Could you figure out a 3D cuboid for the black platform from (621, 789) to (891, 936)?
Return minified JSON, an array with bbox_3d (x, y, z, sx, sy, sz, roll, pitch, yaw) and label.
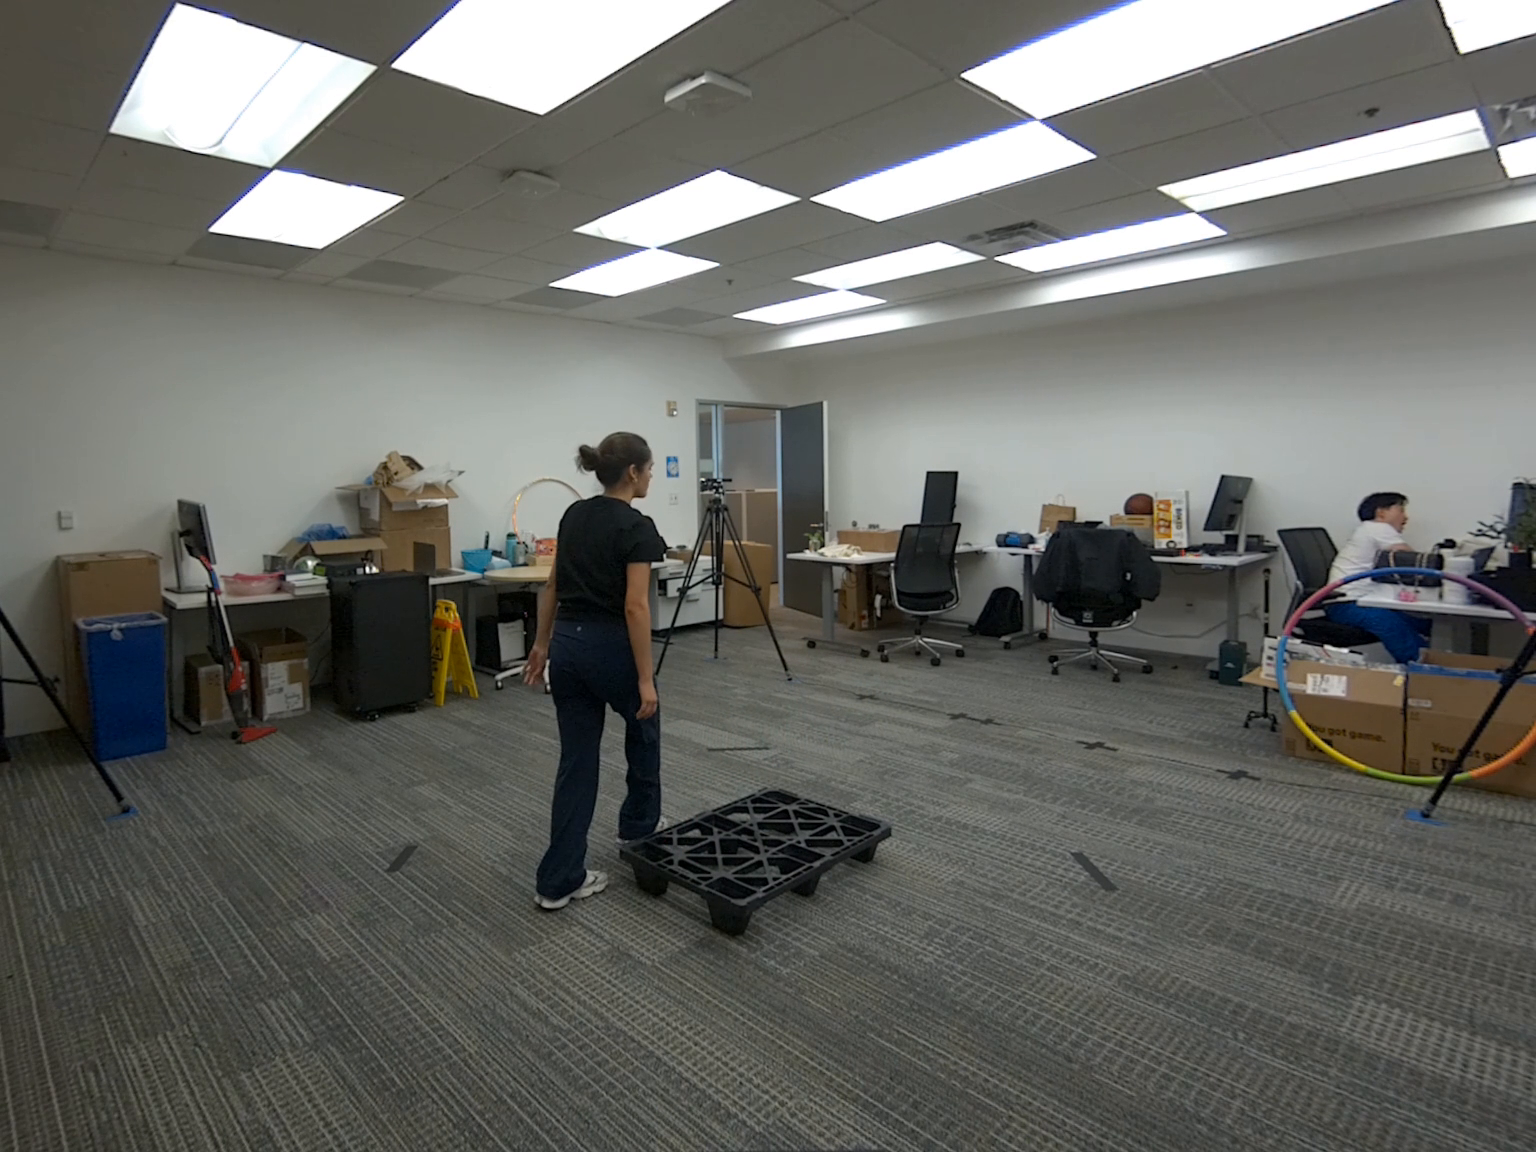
[{"bbox_3d":[-0.036,0.985,3.034,0.624,0.143,0.784,4,8,43],"label":"black platform"}]
